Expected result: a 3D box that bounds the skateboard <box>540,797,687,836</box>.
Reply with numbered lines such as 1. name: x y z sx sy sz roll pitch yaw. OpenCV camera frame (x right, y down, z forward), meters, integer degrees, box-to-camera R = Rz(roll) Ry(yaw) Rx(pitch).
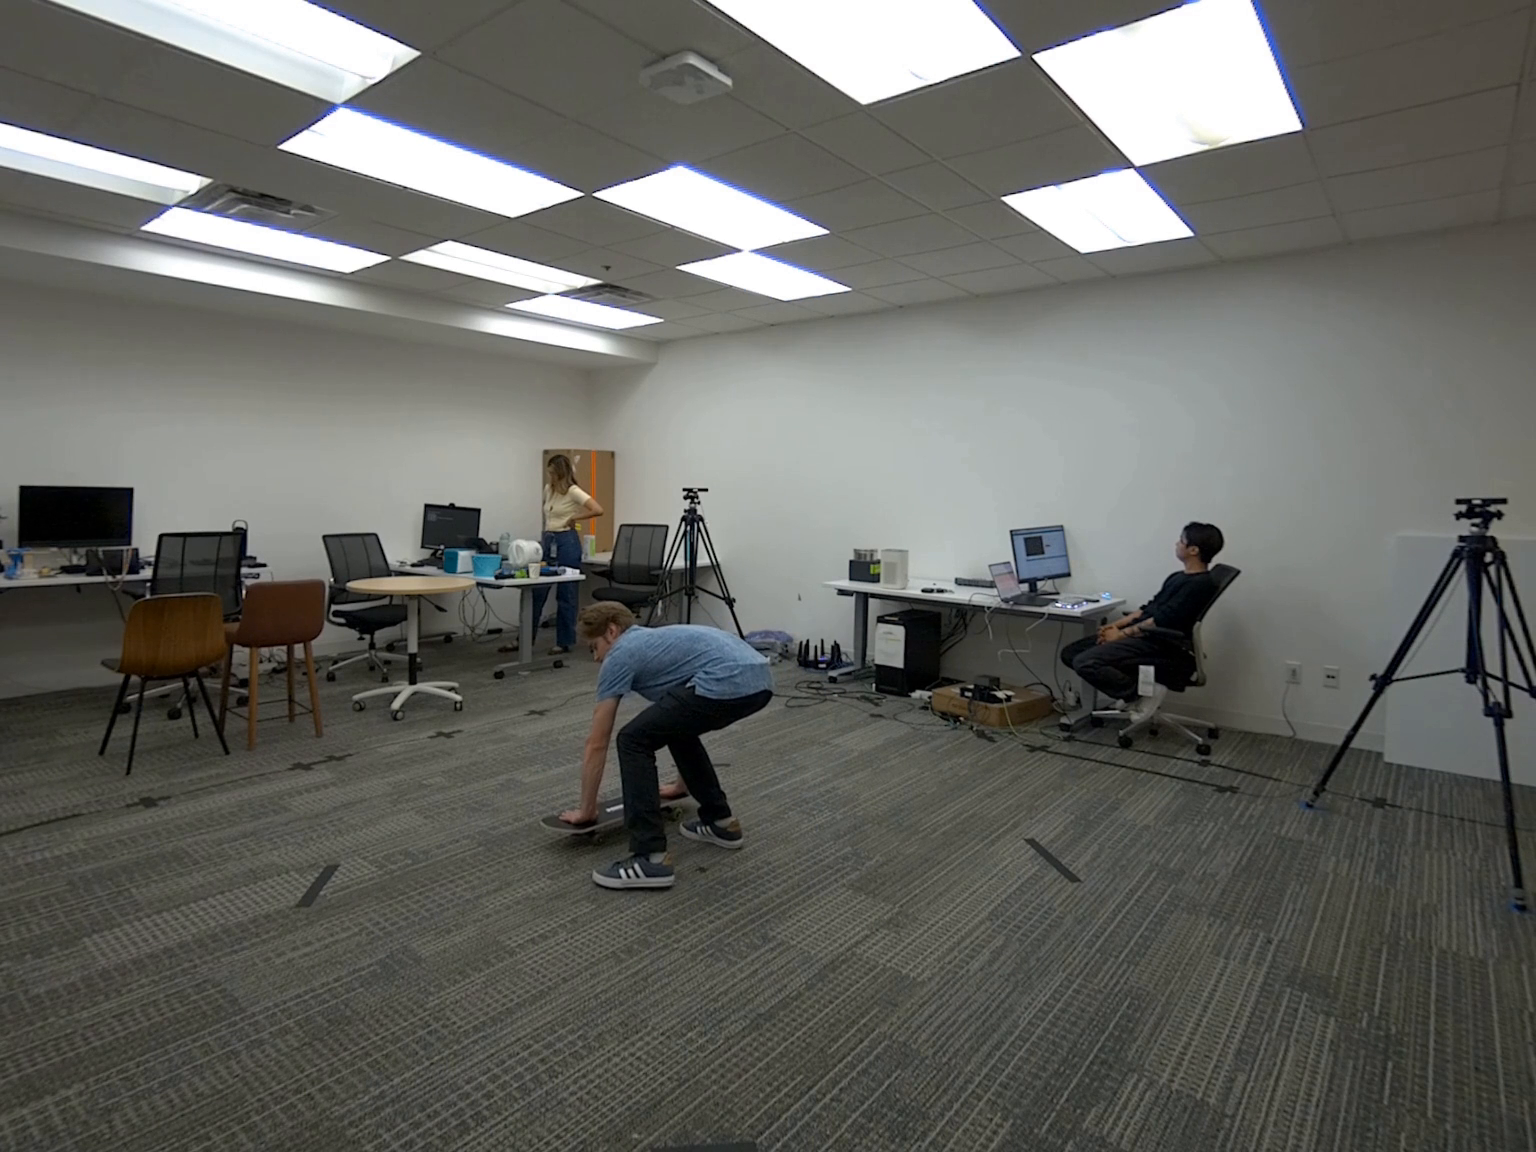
1. skateboard: -0.589 0.972 3.493 0.762 0.110 0.200 -4 5 -44
